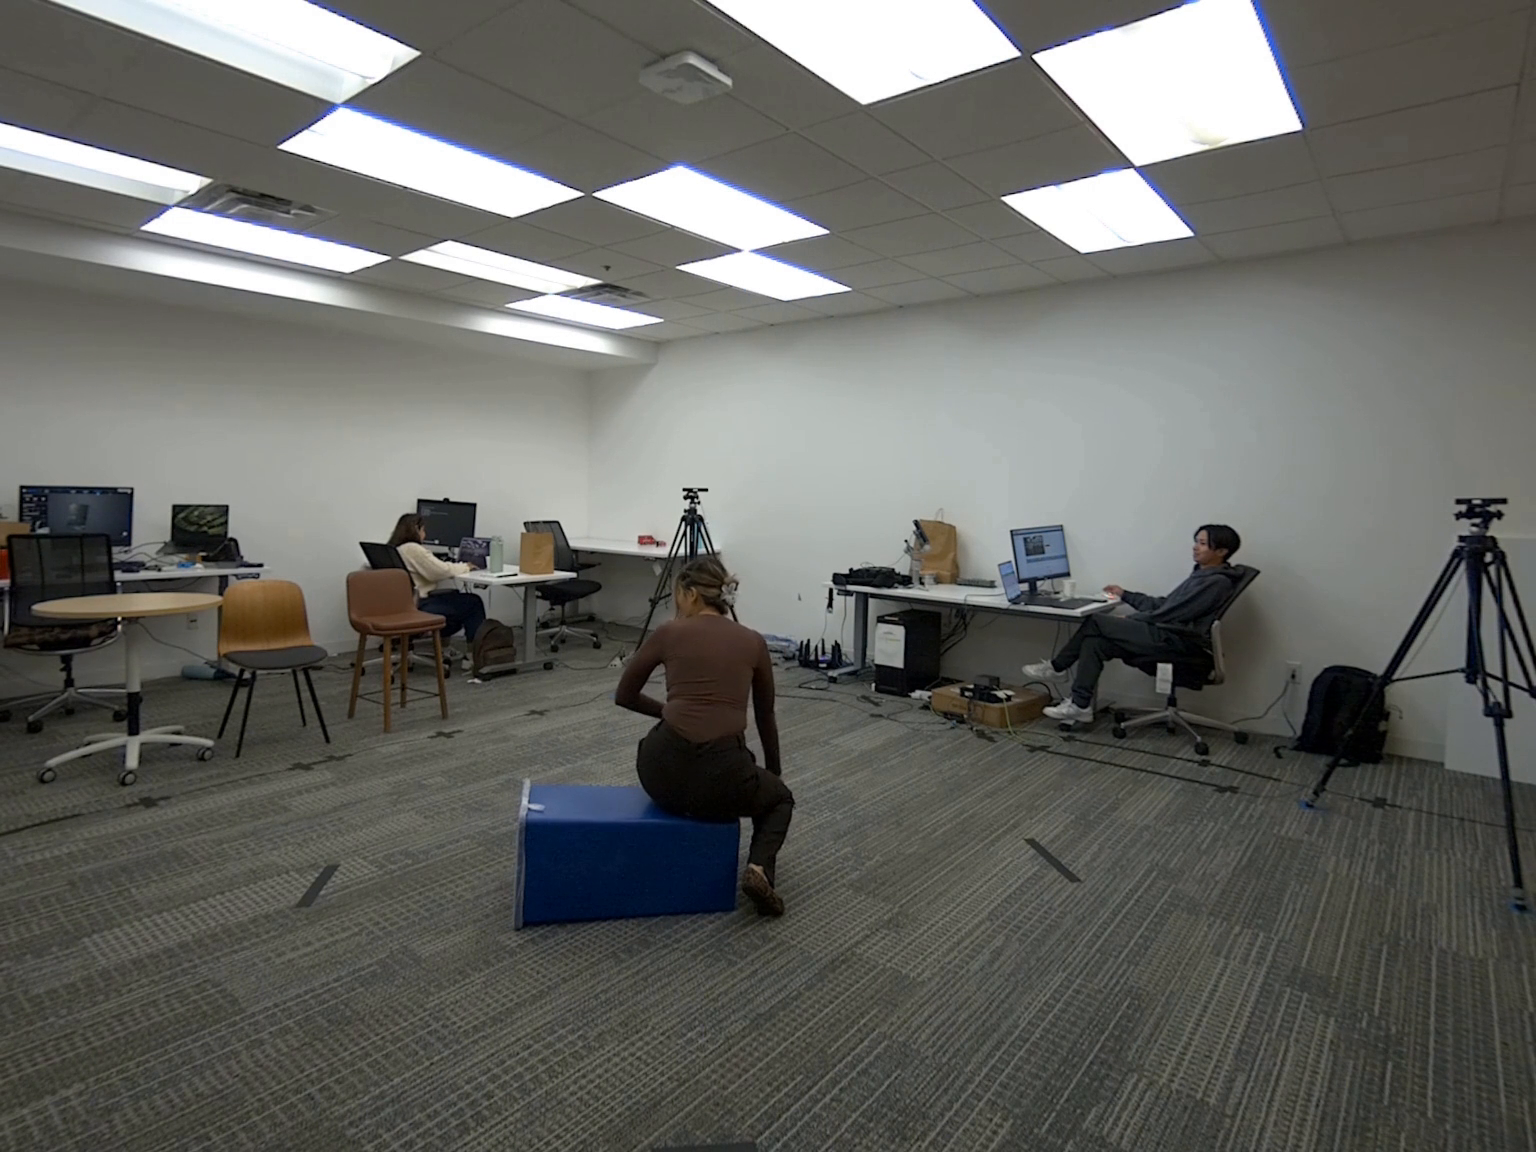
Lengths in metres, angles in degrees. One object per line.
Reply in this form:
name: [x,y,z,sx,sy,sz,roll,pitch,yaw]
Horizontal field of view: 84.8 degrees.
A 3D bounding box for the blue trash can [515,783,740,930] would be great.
blue trash can: [-0.498,0.922,2.885,0.704,0.377,0.380,3,3,-12]
